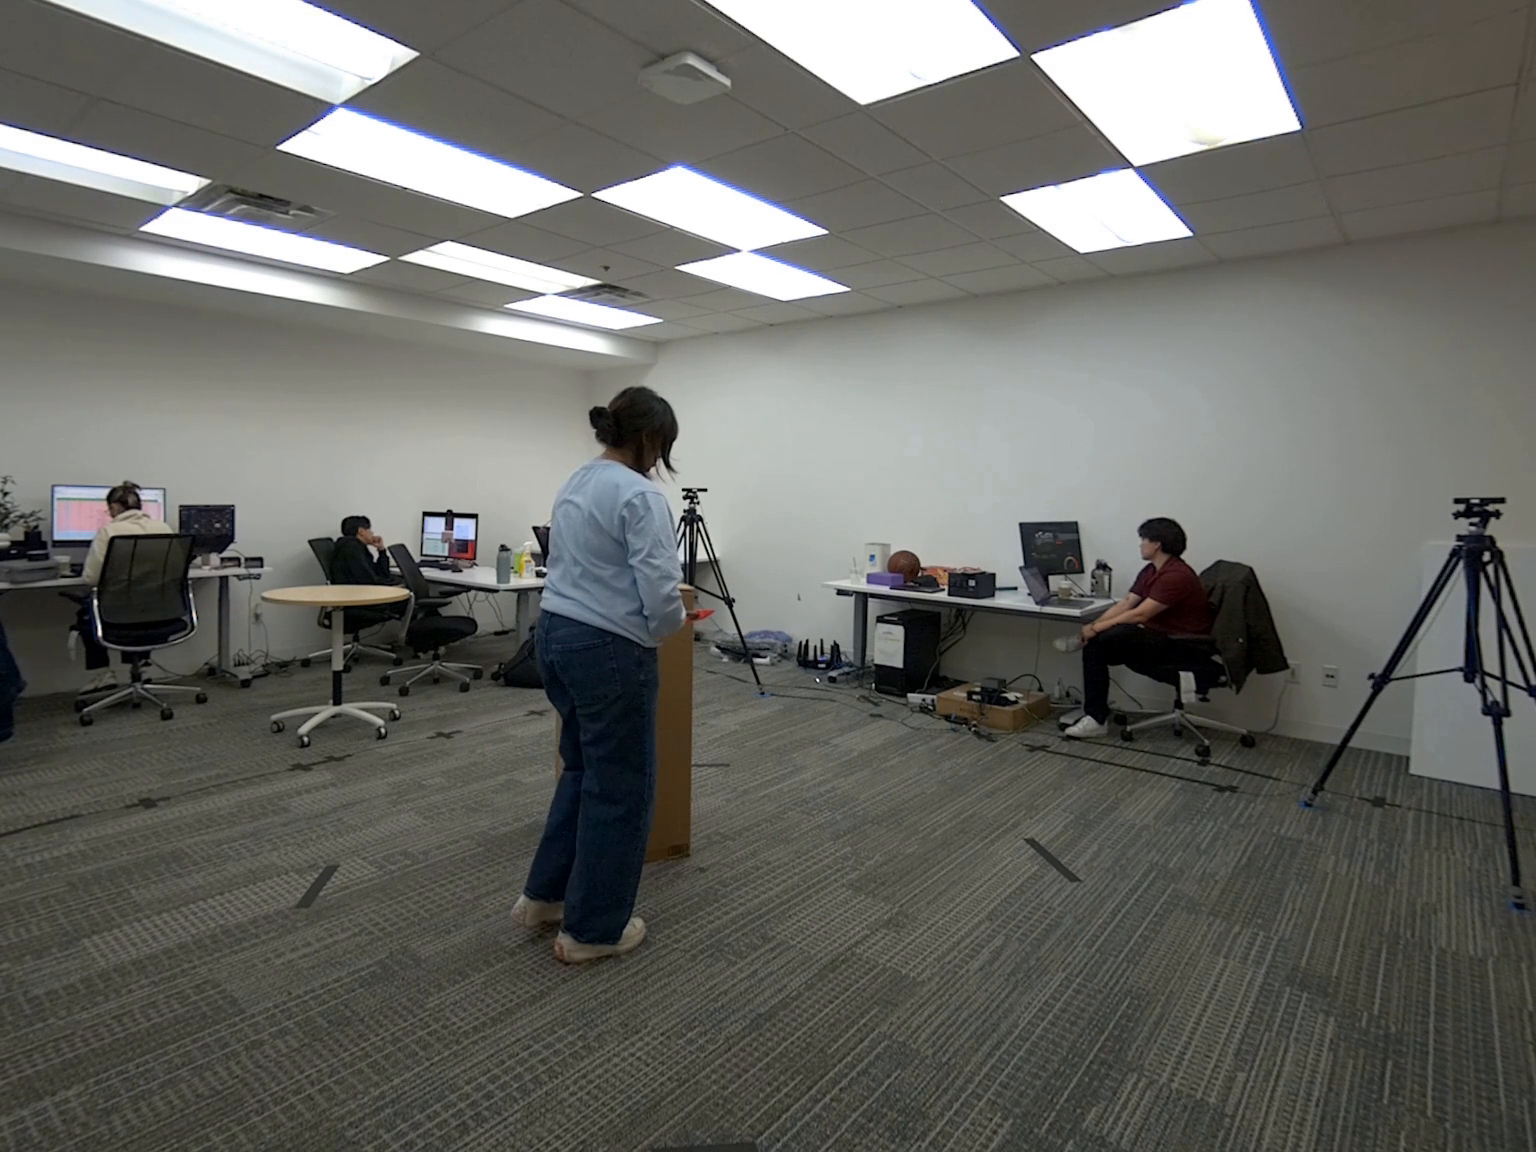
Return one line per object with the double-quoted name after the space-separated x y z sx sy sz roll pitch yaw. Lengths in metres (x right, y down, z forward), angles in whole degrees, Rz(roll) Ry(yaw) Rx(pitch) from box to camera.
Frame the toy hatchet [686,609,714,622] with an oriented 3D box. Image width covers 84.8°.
-0.320 0.134 2.805 0.264 0.030 0.132 -3 -8 -22 "toy hatchet"
